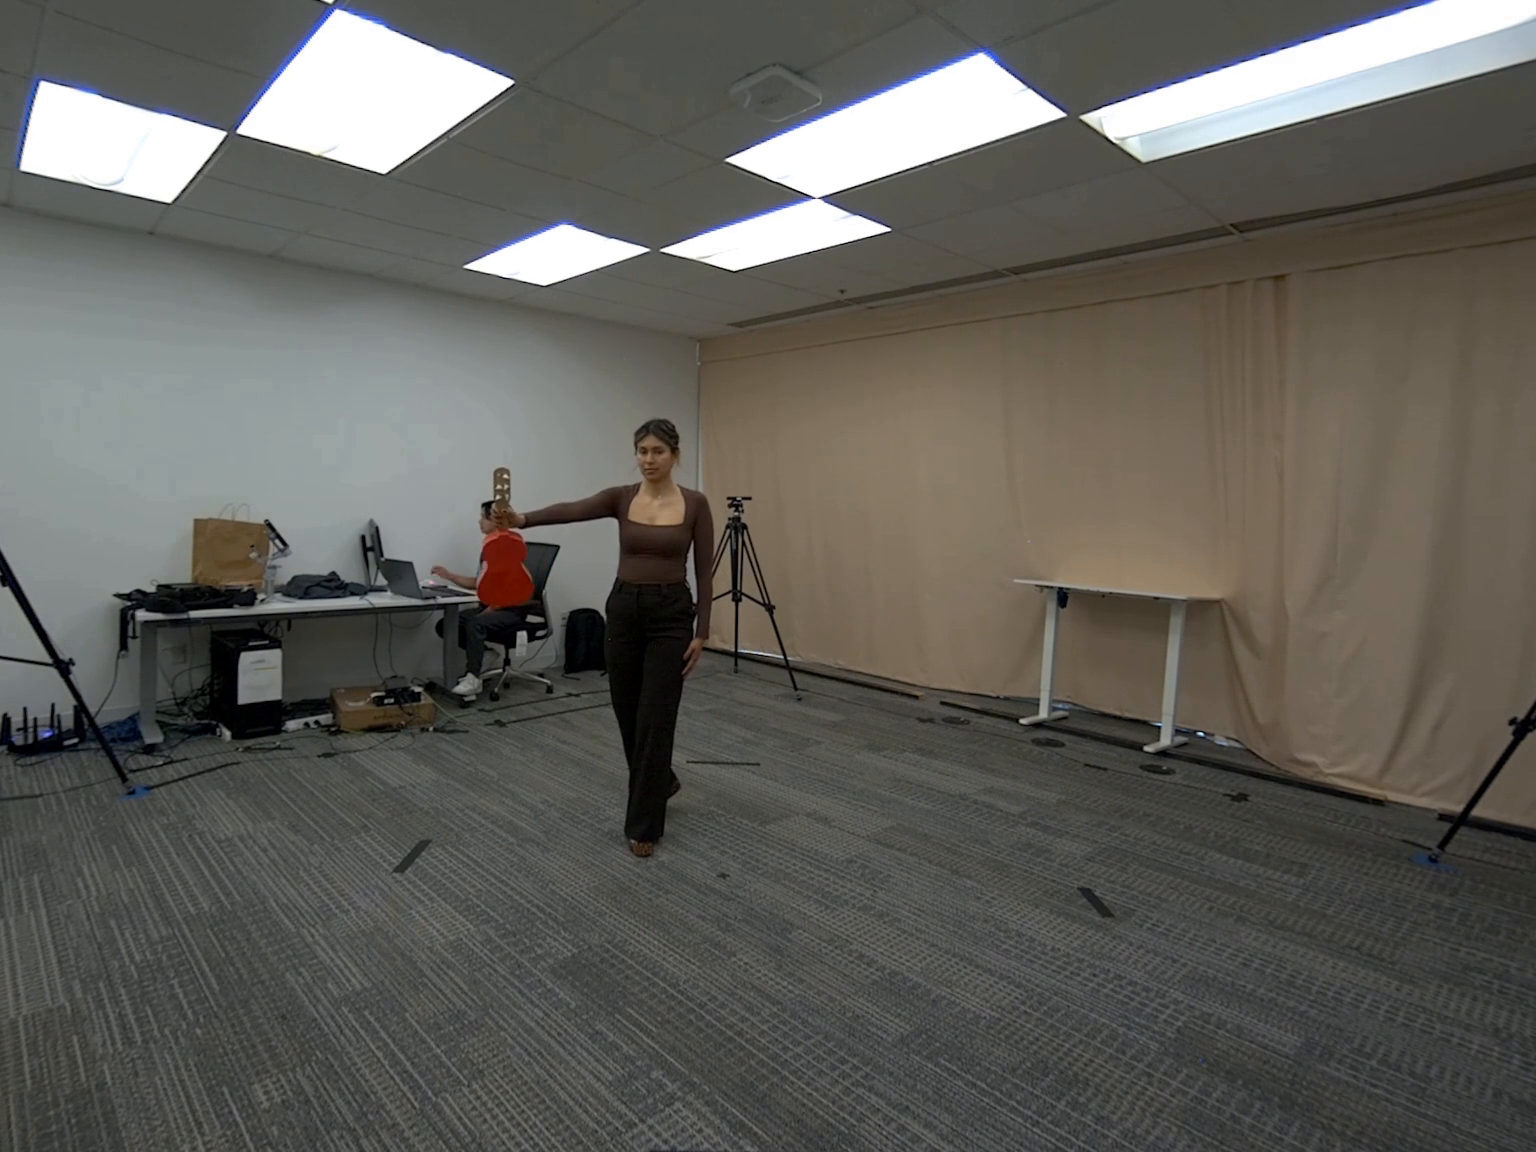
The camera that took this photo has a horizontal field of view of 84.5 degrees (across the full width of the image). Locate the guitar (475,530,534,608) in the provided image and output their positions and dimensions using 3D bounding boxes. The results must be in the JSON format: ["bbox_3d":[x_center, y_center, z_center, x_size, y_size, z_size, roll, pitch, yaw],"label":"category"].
[{"bbox_3d":[-0.946,-0.126,2.906,0.191,0.488,0.073,-12,29,-18],"label":"guitar"}]
